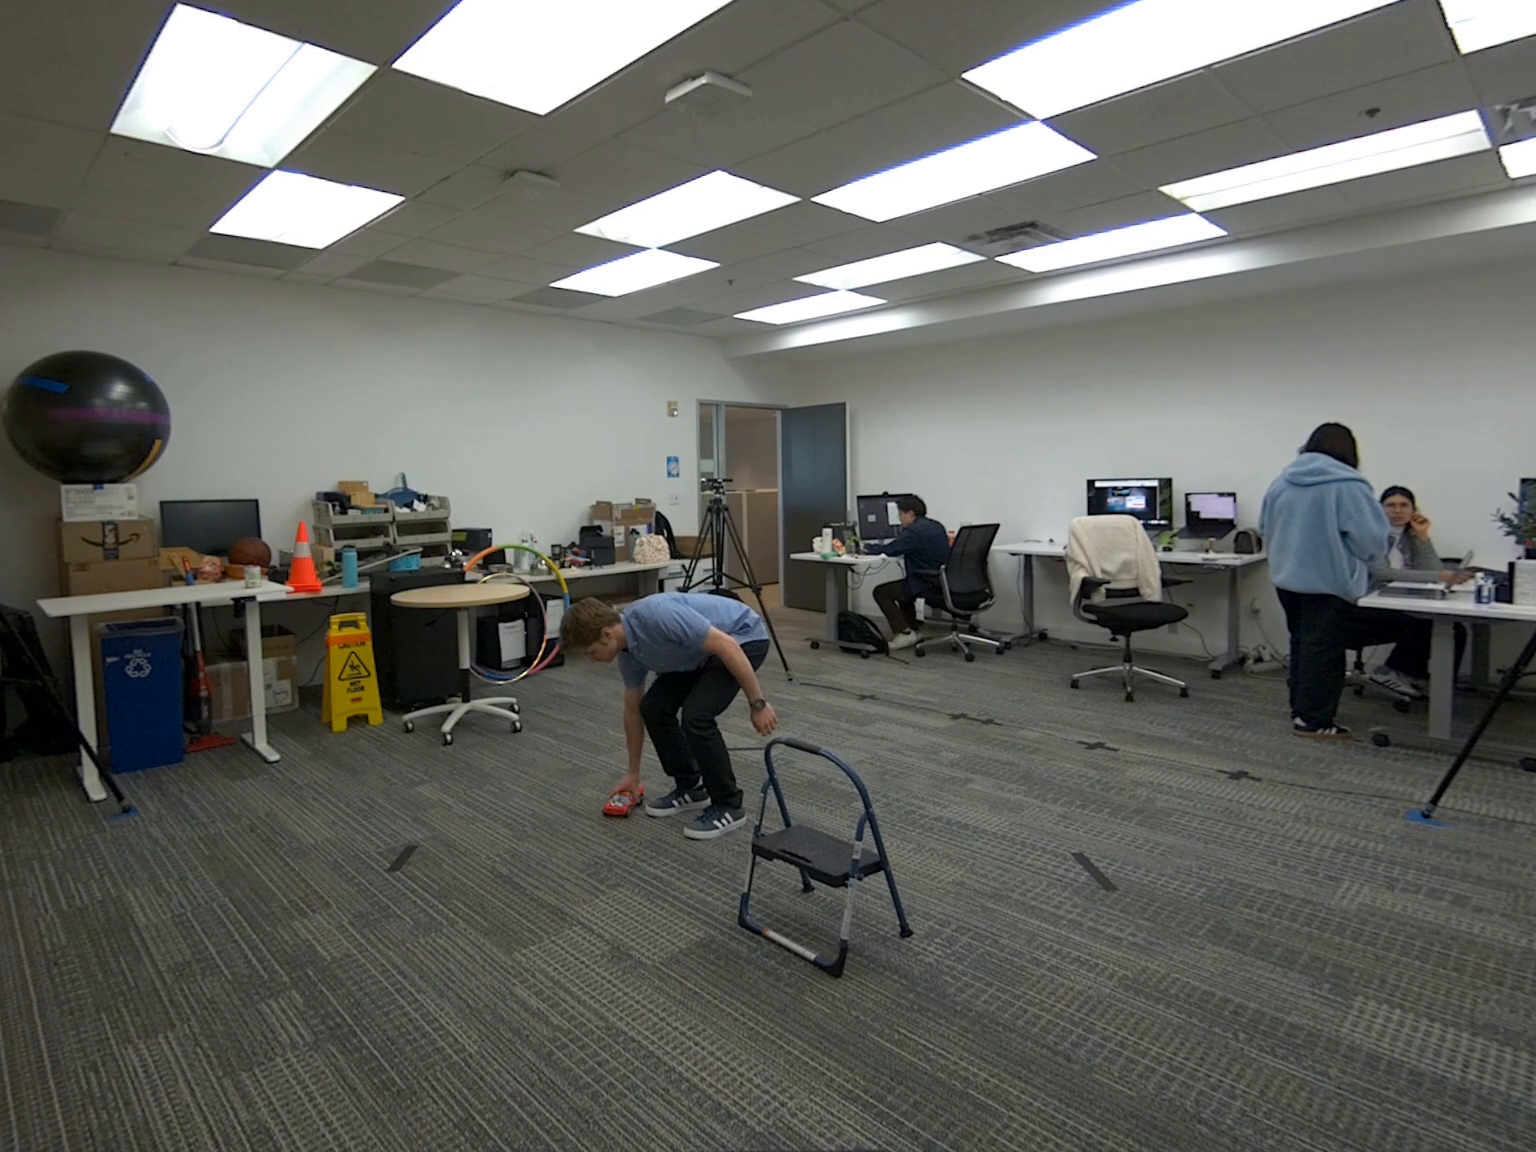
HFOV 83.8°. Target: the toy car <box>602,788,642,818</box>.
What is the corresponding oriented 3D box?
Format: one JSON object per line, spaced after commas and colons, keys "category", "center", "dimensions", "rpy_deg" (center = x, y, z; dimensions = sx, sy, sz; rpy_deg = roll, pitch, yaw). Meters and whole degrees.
{"category": "toy car", "center": [-0.608, 0.950, 3.668], "dimensions": [0.132, 0.082, 0.255], "rpy_deg": [-3, 16, 12]}
